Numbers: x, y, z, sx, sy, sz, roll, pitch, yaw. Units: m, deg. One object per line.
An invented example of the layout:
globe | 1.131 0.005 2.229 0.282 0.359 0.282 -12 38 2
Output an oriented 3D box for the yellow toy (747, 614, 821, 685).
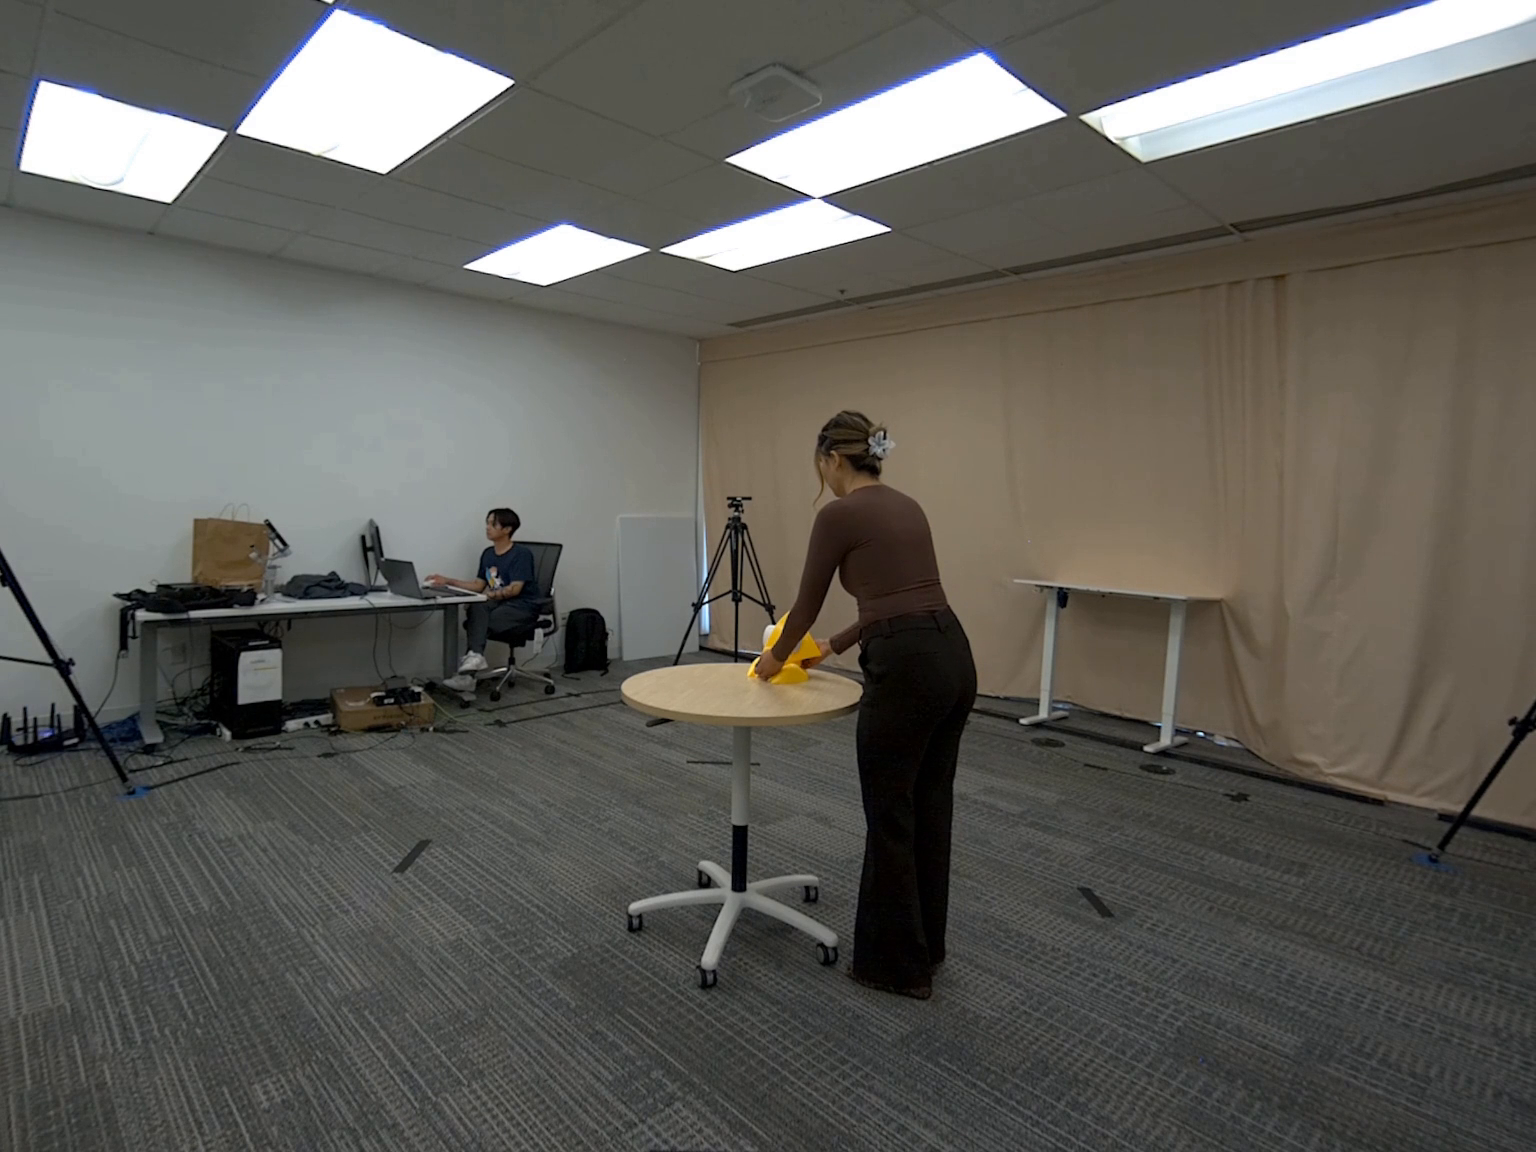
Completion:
yellow toy | 0.044 0.224 2.820 0.189 0.230 0.210 -2 4 -37
